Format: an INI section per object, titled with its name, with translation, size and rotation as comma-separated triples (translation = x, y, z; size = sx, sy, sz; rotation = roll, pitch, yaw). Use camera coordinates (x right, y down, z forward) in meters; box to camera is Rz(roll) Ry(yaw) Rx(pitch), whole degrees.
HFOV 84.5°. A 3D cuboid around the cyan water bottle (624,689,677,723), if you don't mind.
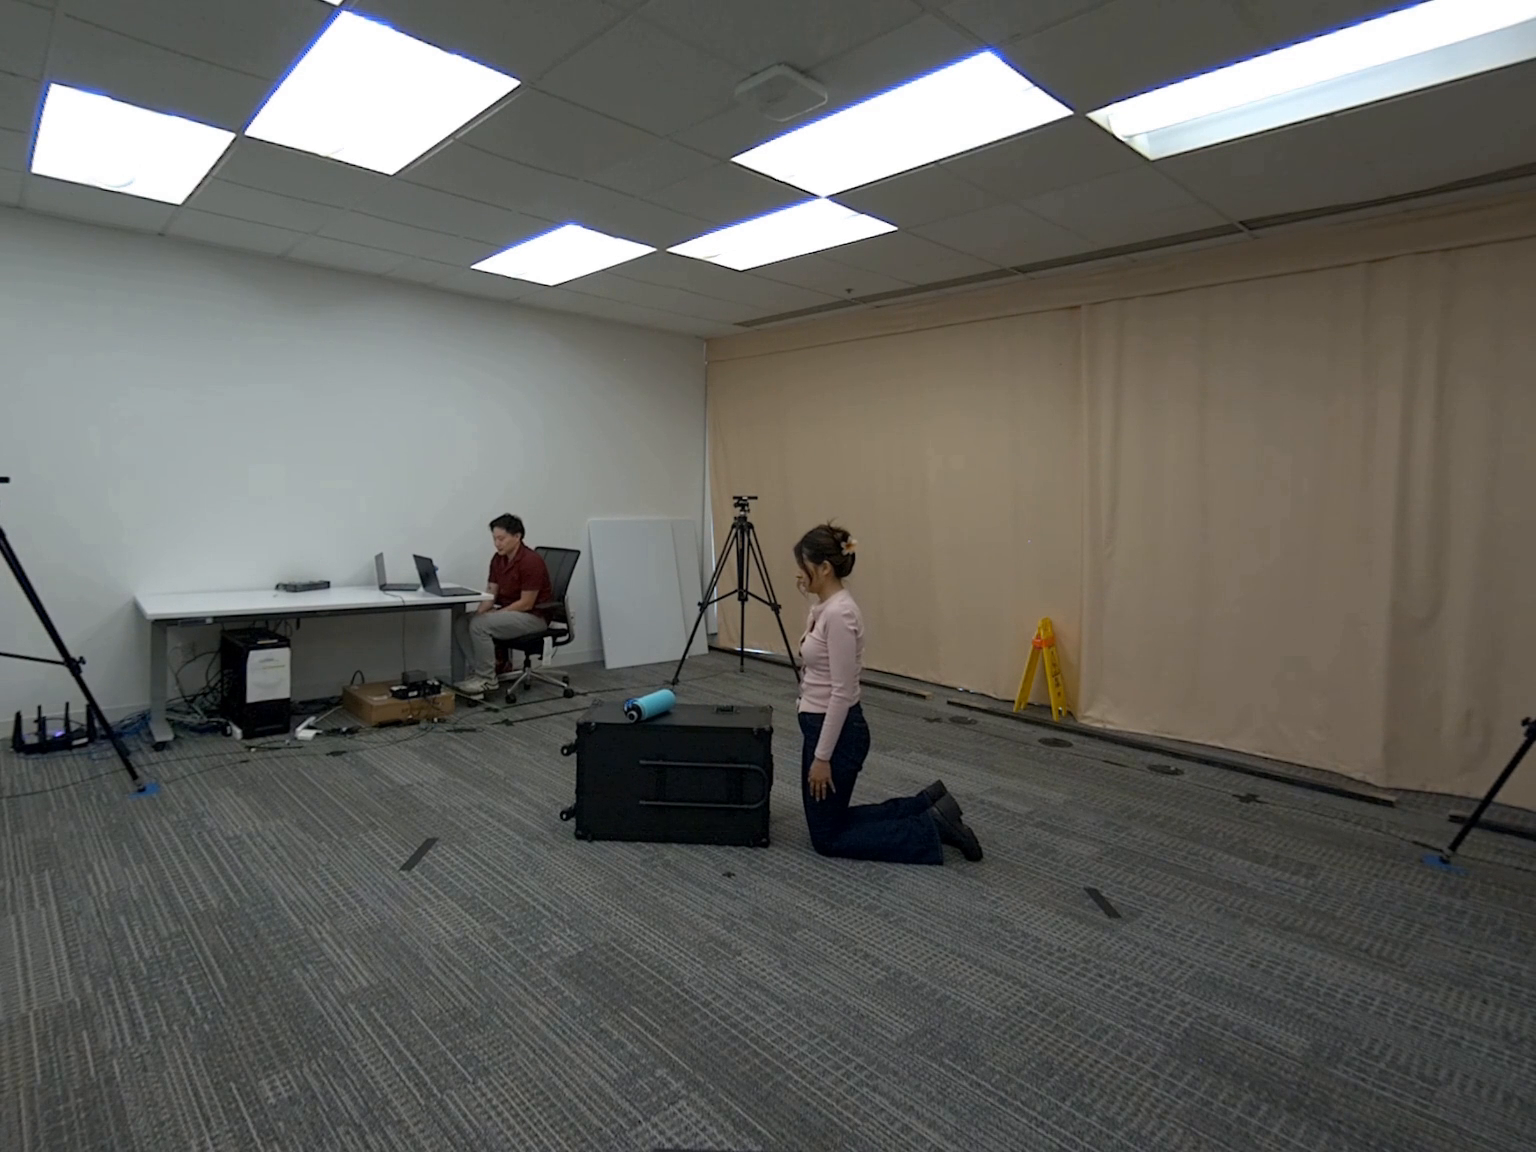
[cyan water bottle]
translation = -0.494, 0.531, 3.456
size = 0.094, 0.092, 0.278
rotation = 3, 5, 26
